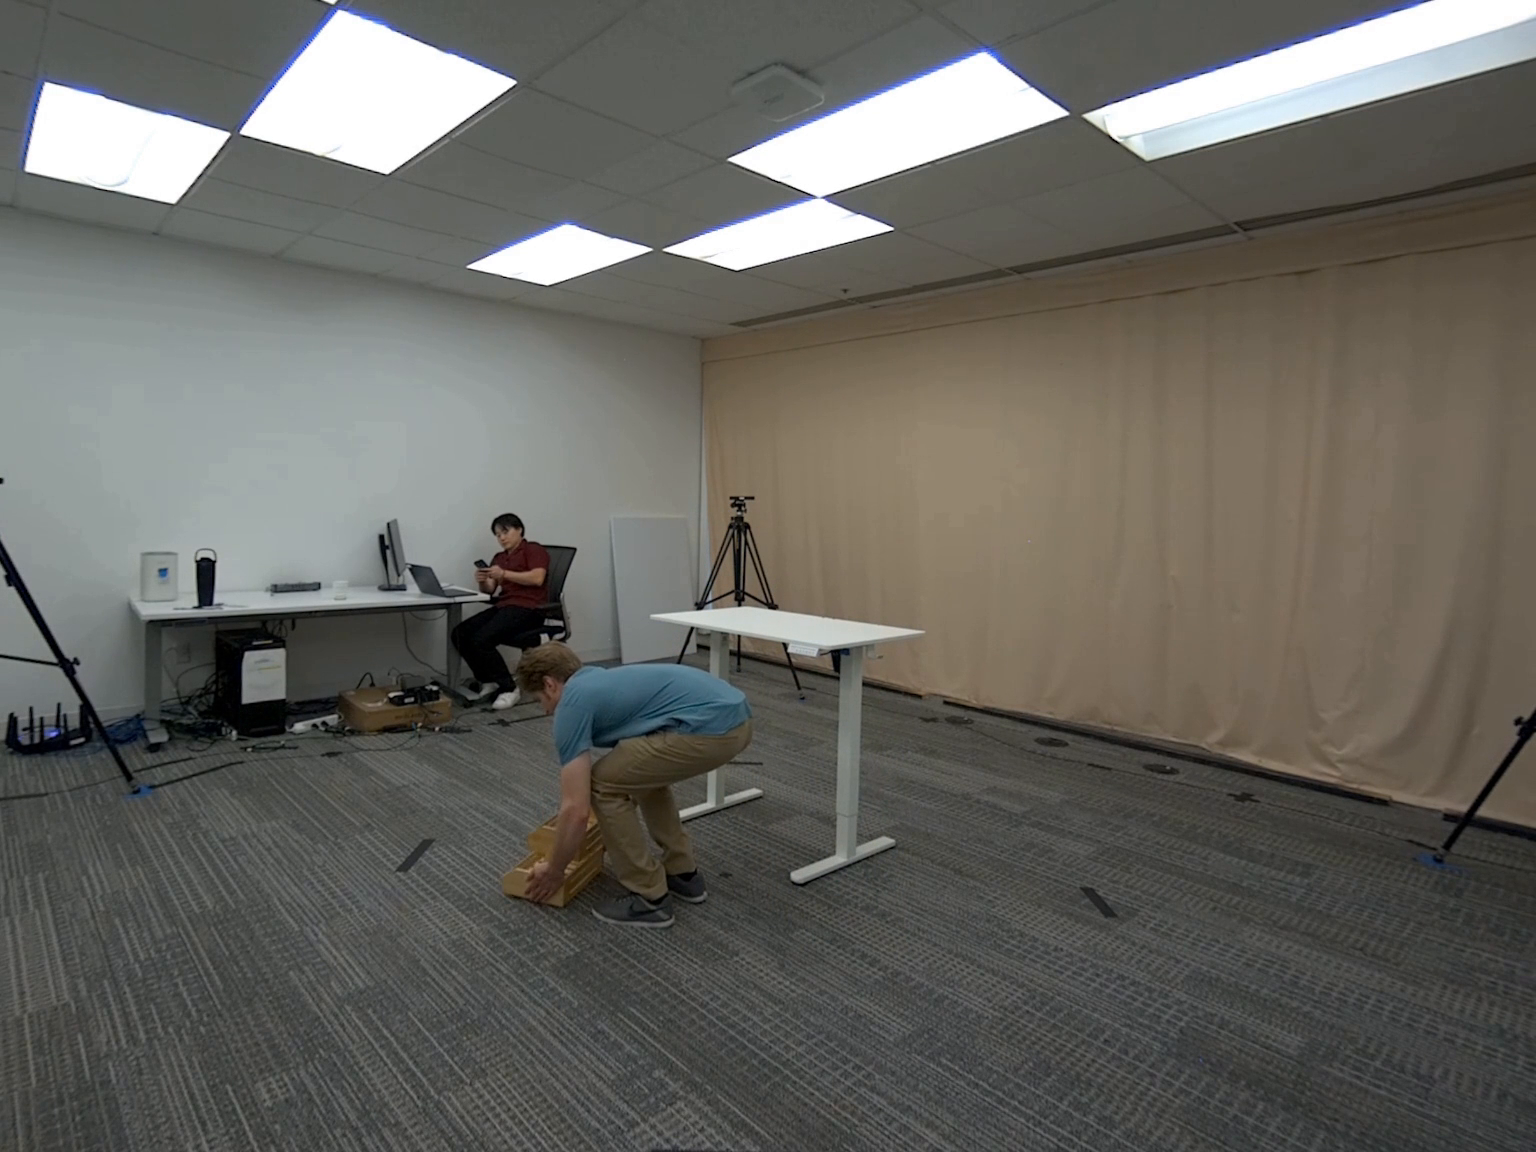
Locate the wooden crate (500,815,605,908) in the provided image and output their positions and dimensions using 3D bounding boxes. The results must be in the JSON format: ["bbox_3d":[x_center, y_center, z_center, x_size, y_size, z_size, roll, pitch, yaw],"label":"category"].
[{"bbox_3d":[-0.750,0.956,2.982,0.306,0.272,0.321,5,7,17],"label":"wooden crate"}]
